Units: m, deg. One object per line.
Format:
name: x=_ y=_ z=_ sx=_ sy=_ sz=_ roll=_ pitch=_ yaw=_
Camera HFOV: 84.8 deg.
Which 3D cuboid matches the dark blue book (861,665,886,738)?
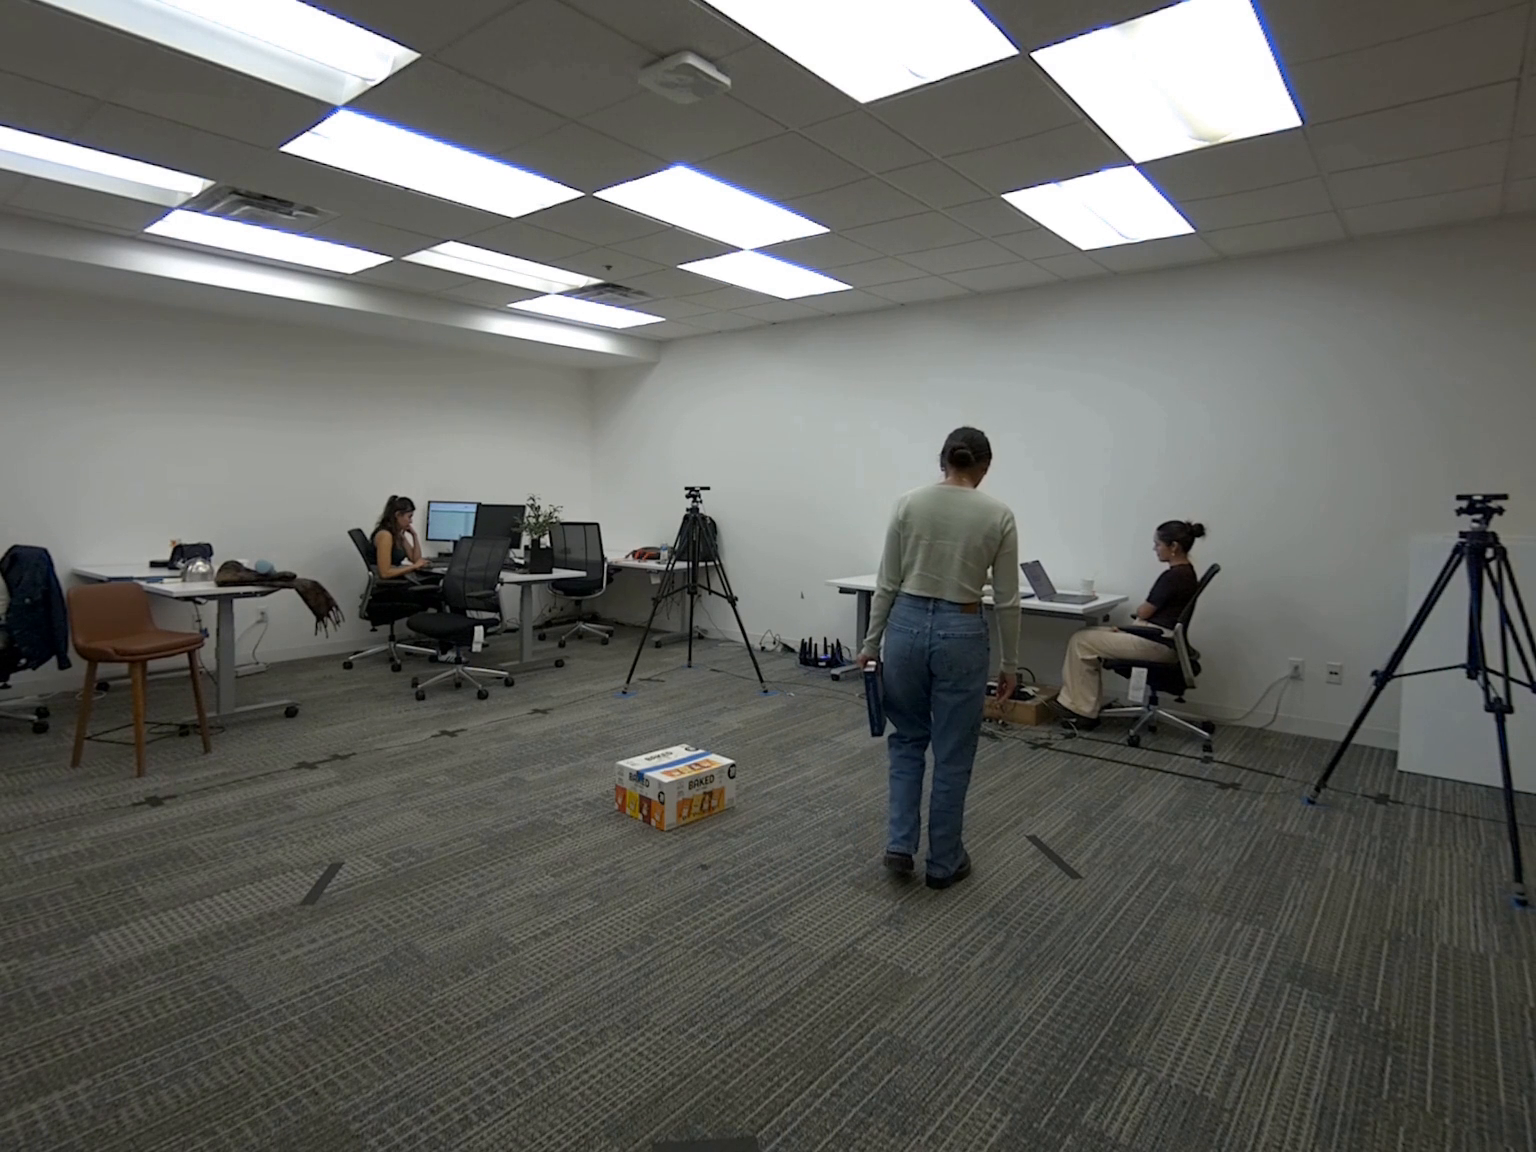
dark blue book: x=0.382 y=0.447 z=3.136 sx=0.046 sy=0.244 sz=0.162 roll=-7 pitch=6 yaw=15
